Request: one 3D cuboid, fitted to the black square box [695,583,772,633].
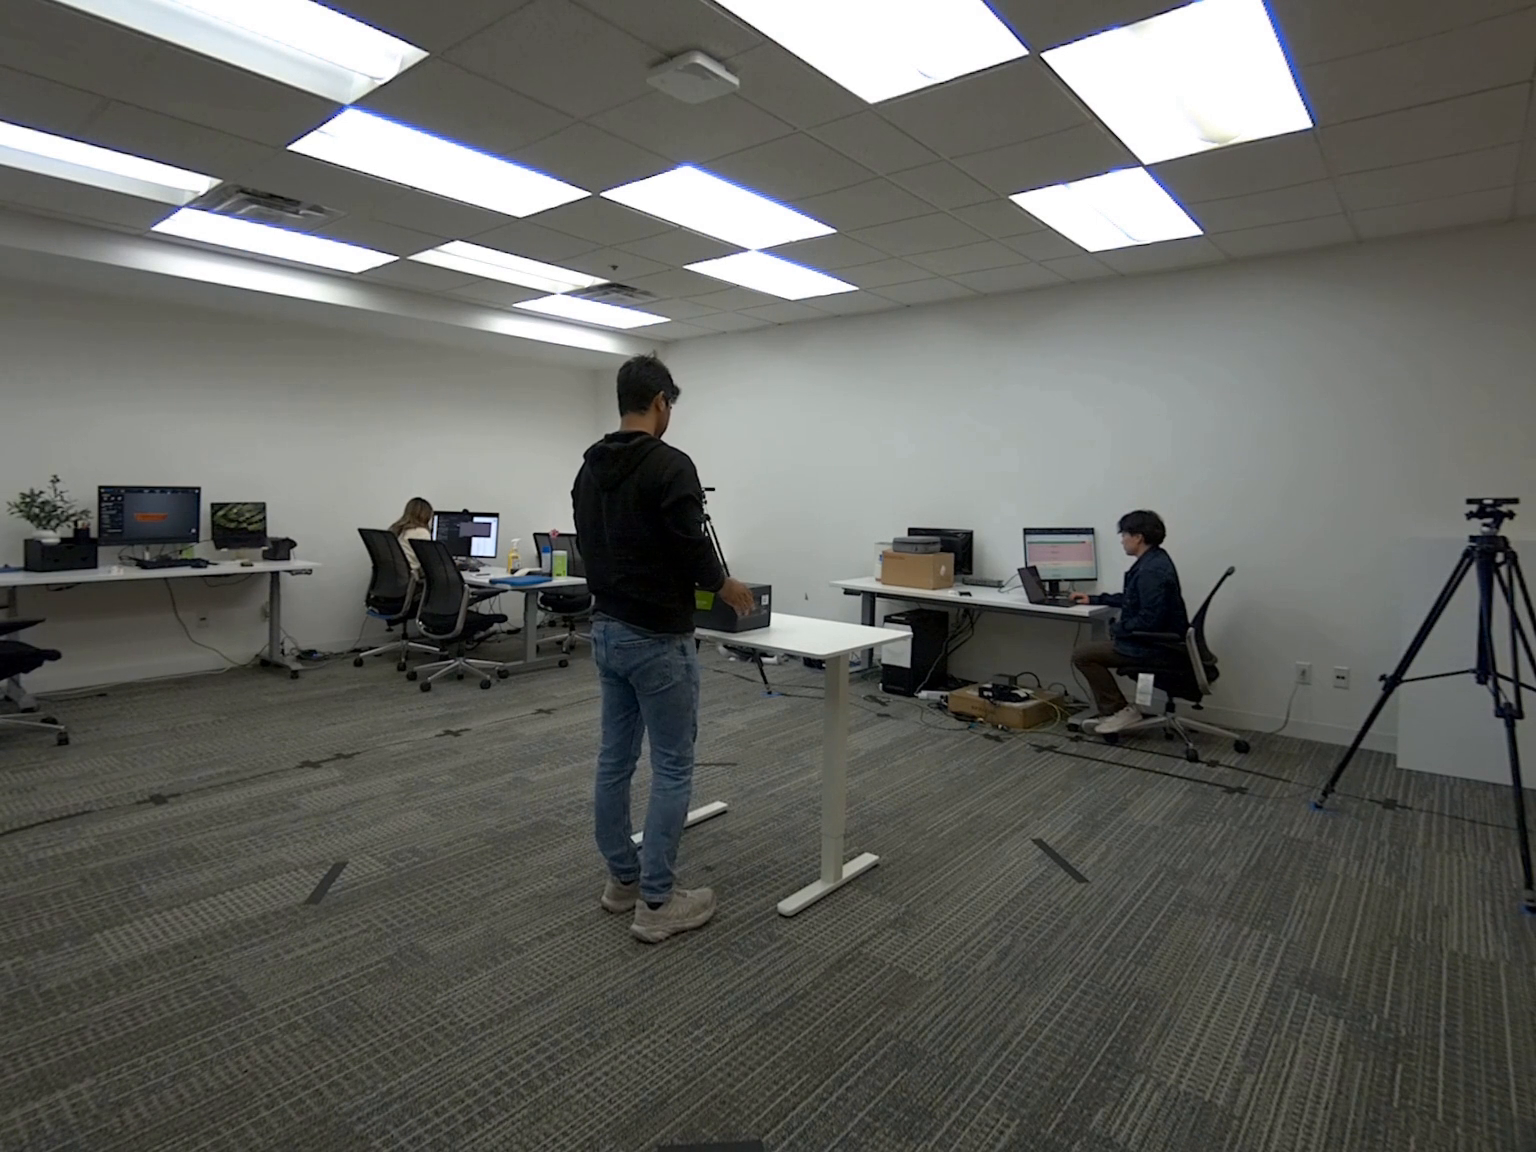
[{"bbox_3d":[-0.148,0.105,3.130,0.235,0.155,0.211,5,6,36],"label":"black square box"}]
